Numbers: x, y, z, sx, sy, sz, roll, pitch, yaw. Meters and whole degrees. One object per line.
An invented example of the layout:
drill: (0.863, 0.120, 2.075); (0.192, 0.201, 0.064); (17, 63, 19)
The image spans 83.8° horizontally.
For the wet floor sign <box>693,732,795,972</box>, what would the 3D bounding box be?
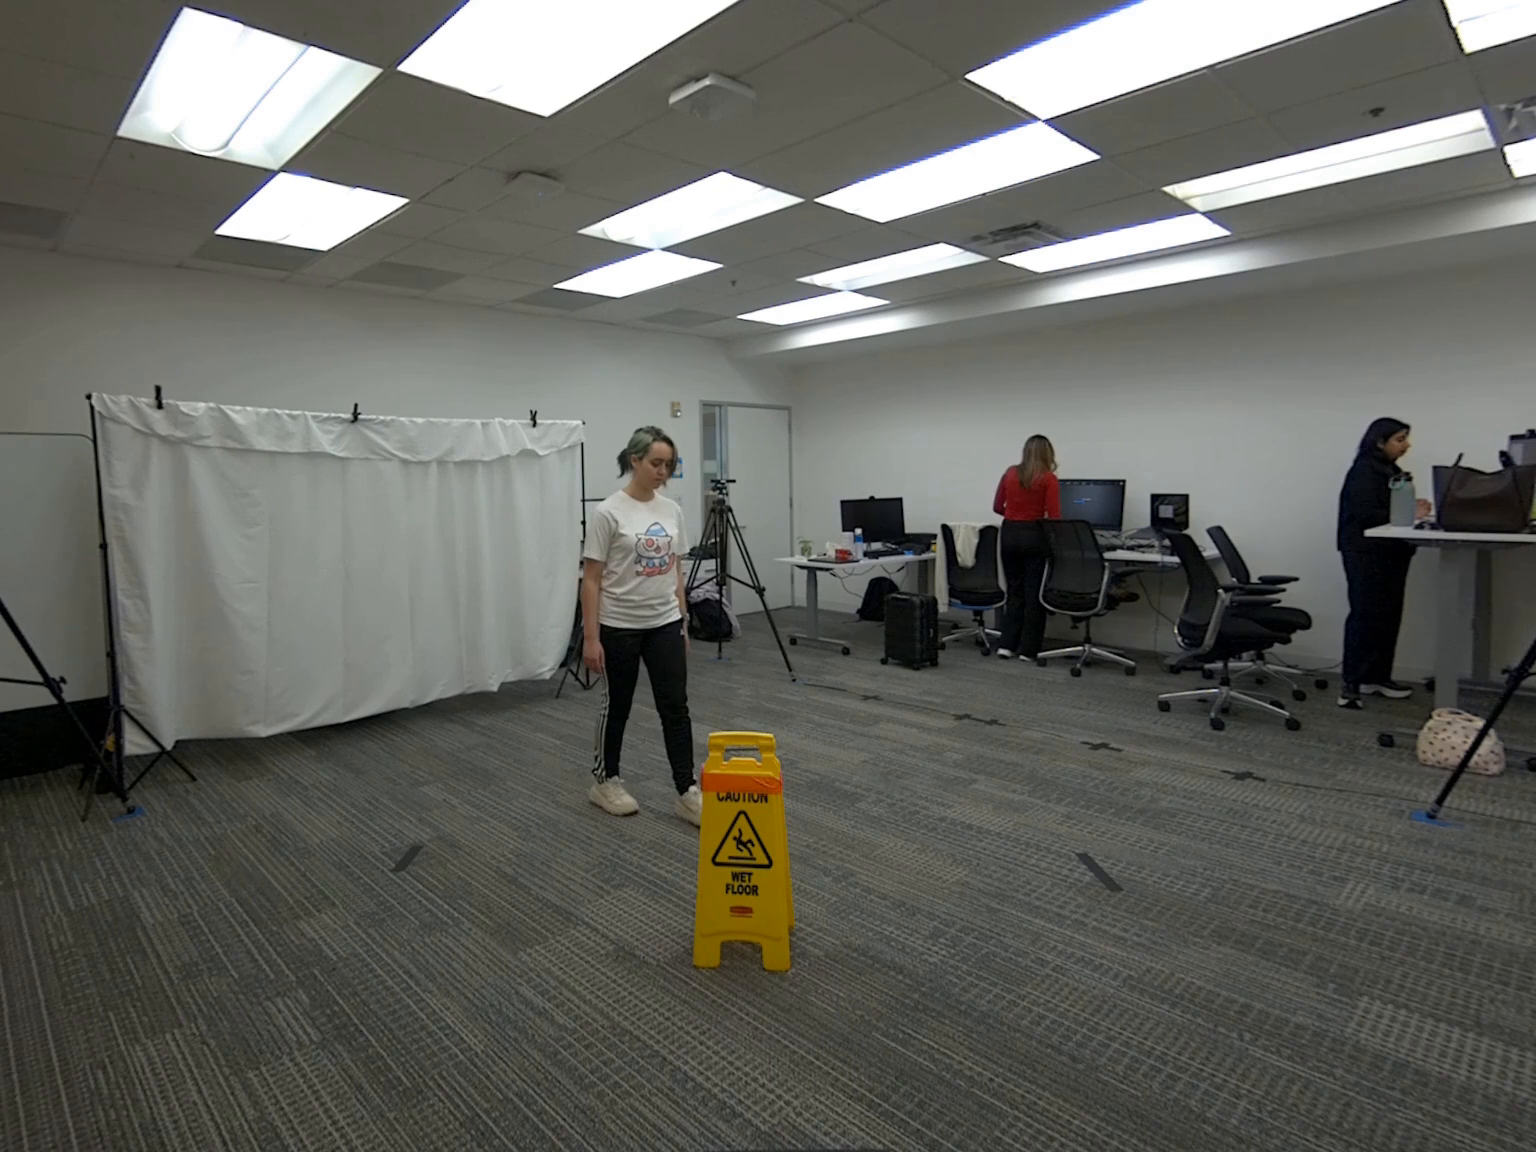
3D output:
wet floor sign: (-0.082, 0.790, 2.541); (0.284, 0.643, 0.289); (-1, 4, 5)
